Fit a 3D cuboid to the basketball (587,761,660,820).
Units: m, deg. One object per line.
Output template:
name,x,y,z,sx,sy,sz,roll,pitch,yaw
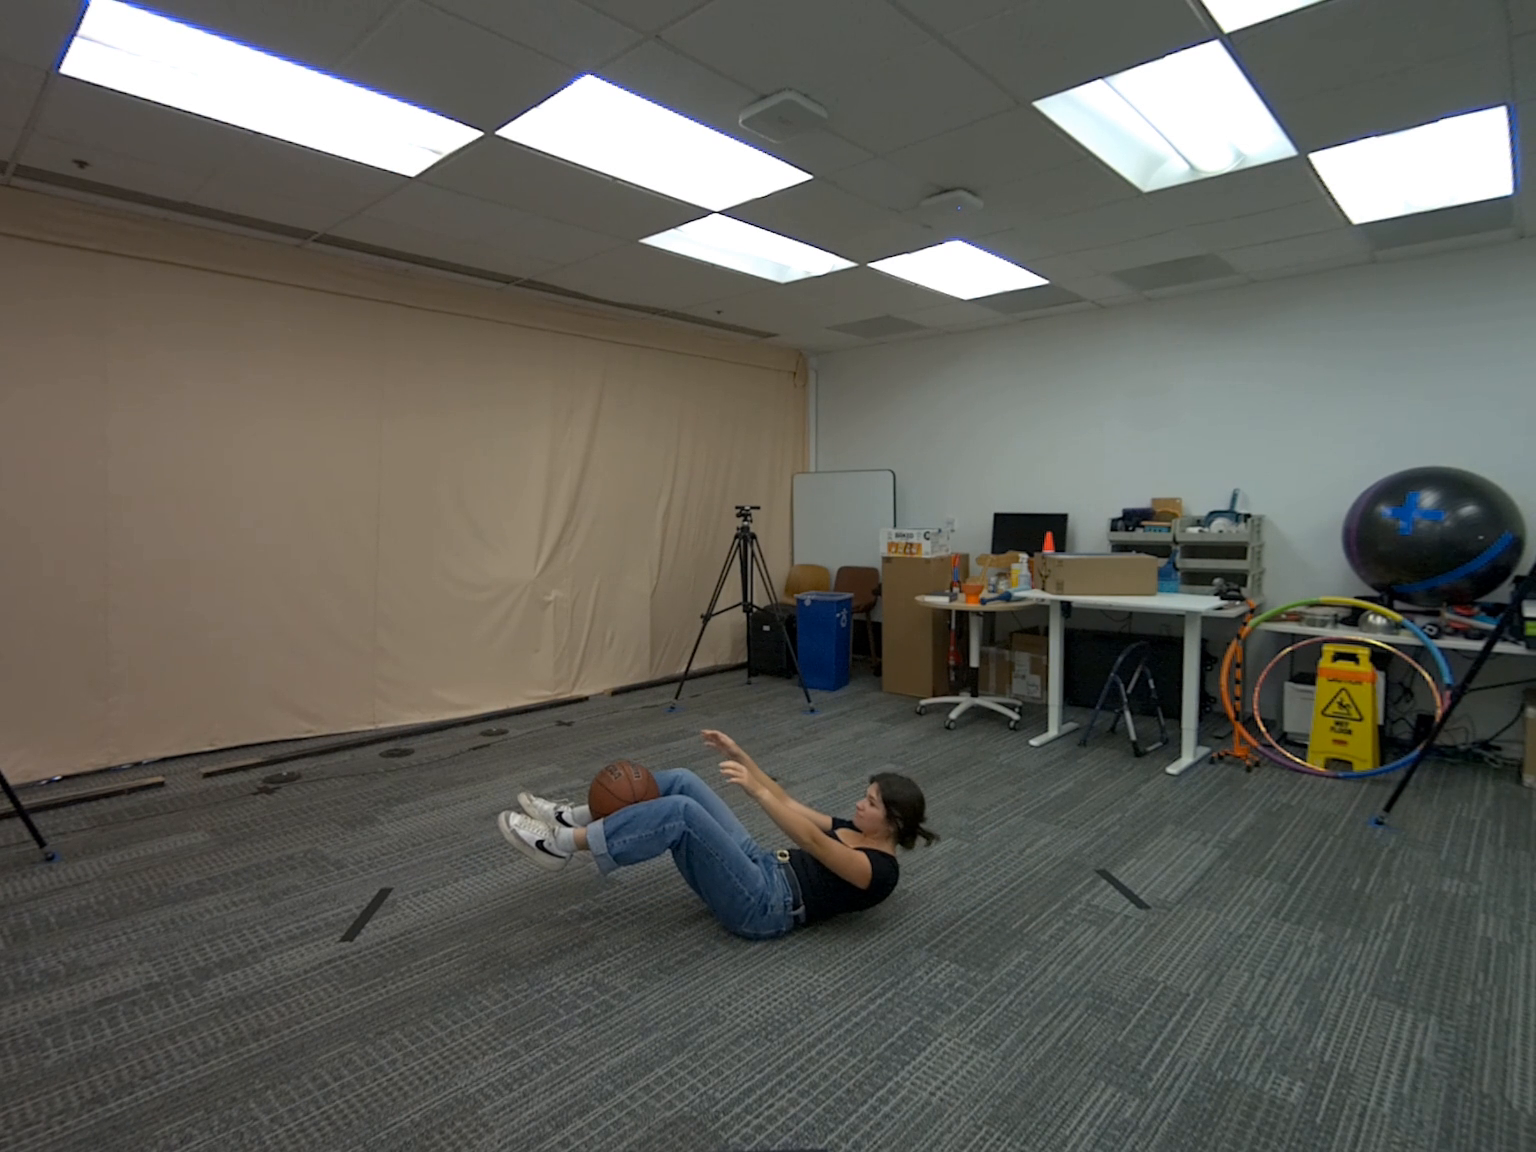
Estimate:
basketball,-0.474,0.733,2.792,0.236,0.235,0.237,0,4,-2
